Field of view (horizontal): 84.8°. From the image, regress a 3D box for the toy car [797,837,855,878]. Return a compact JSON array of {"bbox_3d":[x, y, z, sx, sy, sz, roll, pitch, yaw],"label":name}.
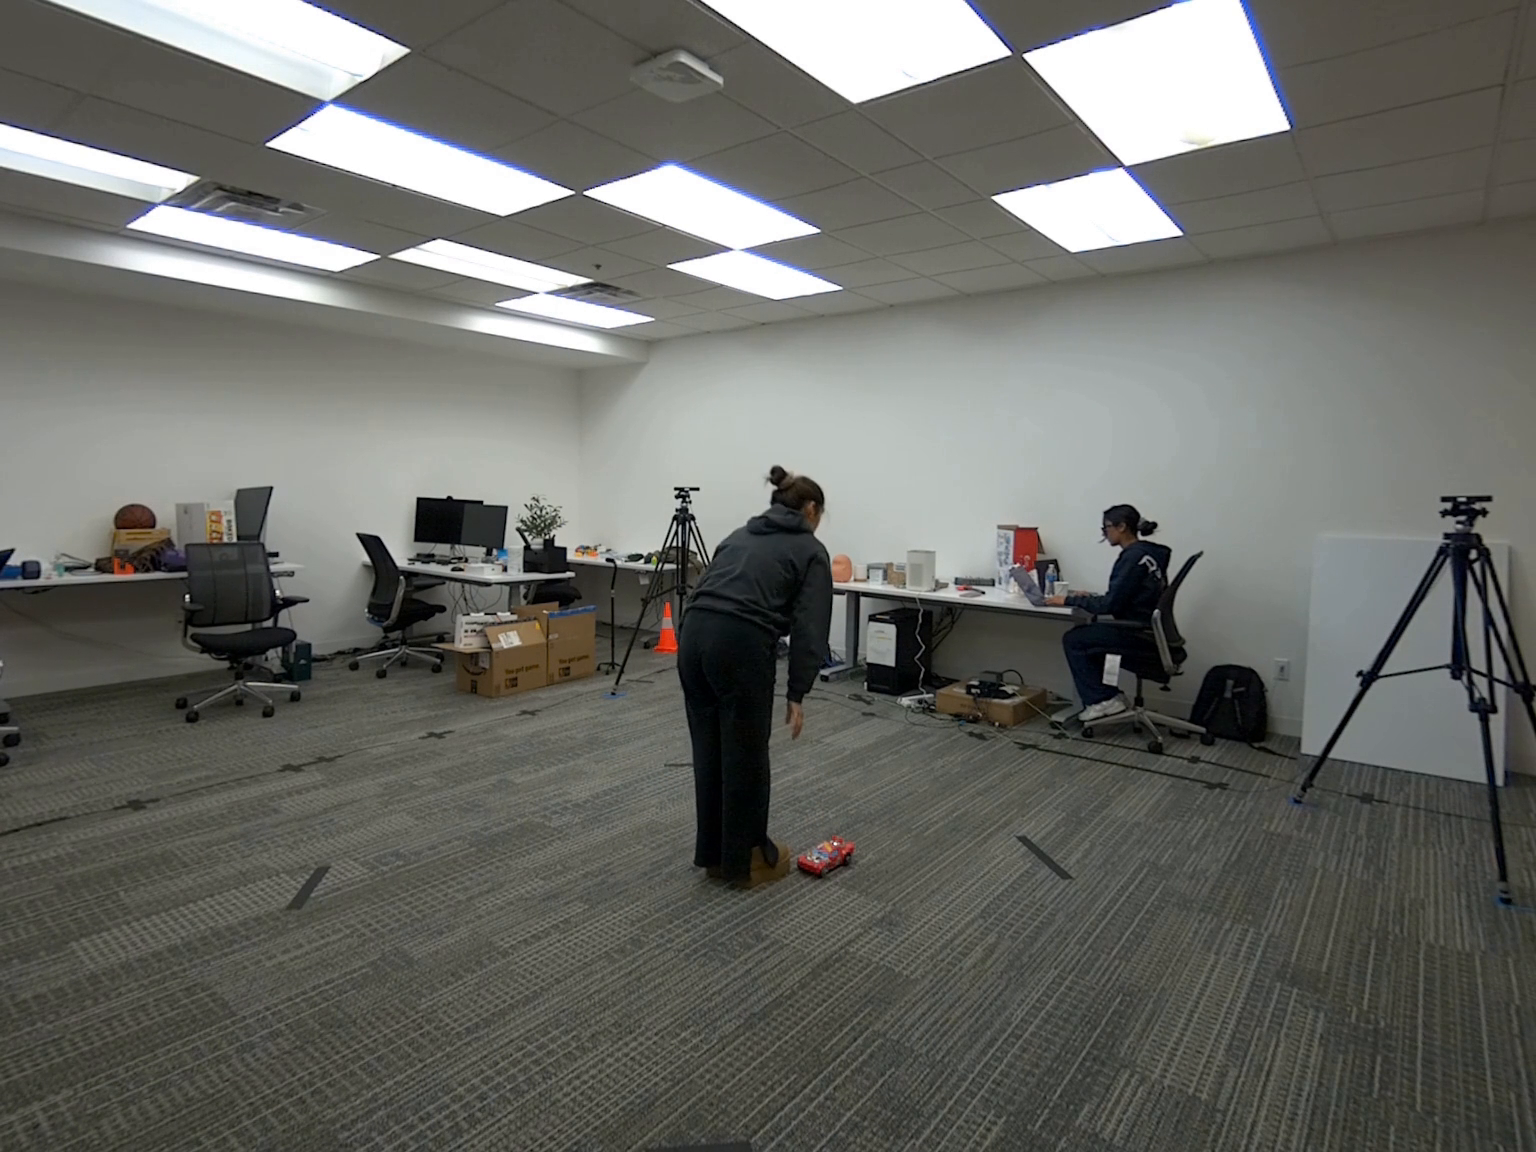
[{"bbox_3d":[0.228,1.041,3.158,0.135,0.082,0.249,6,18,41],"label":"toy car"}]
